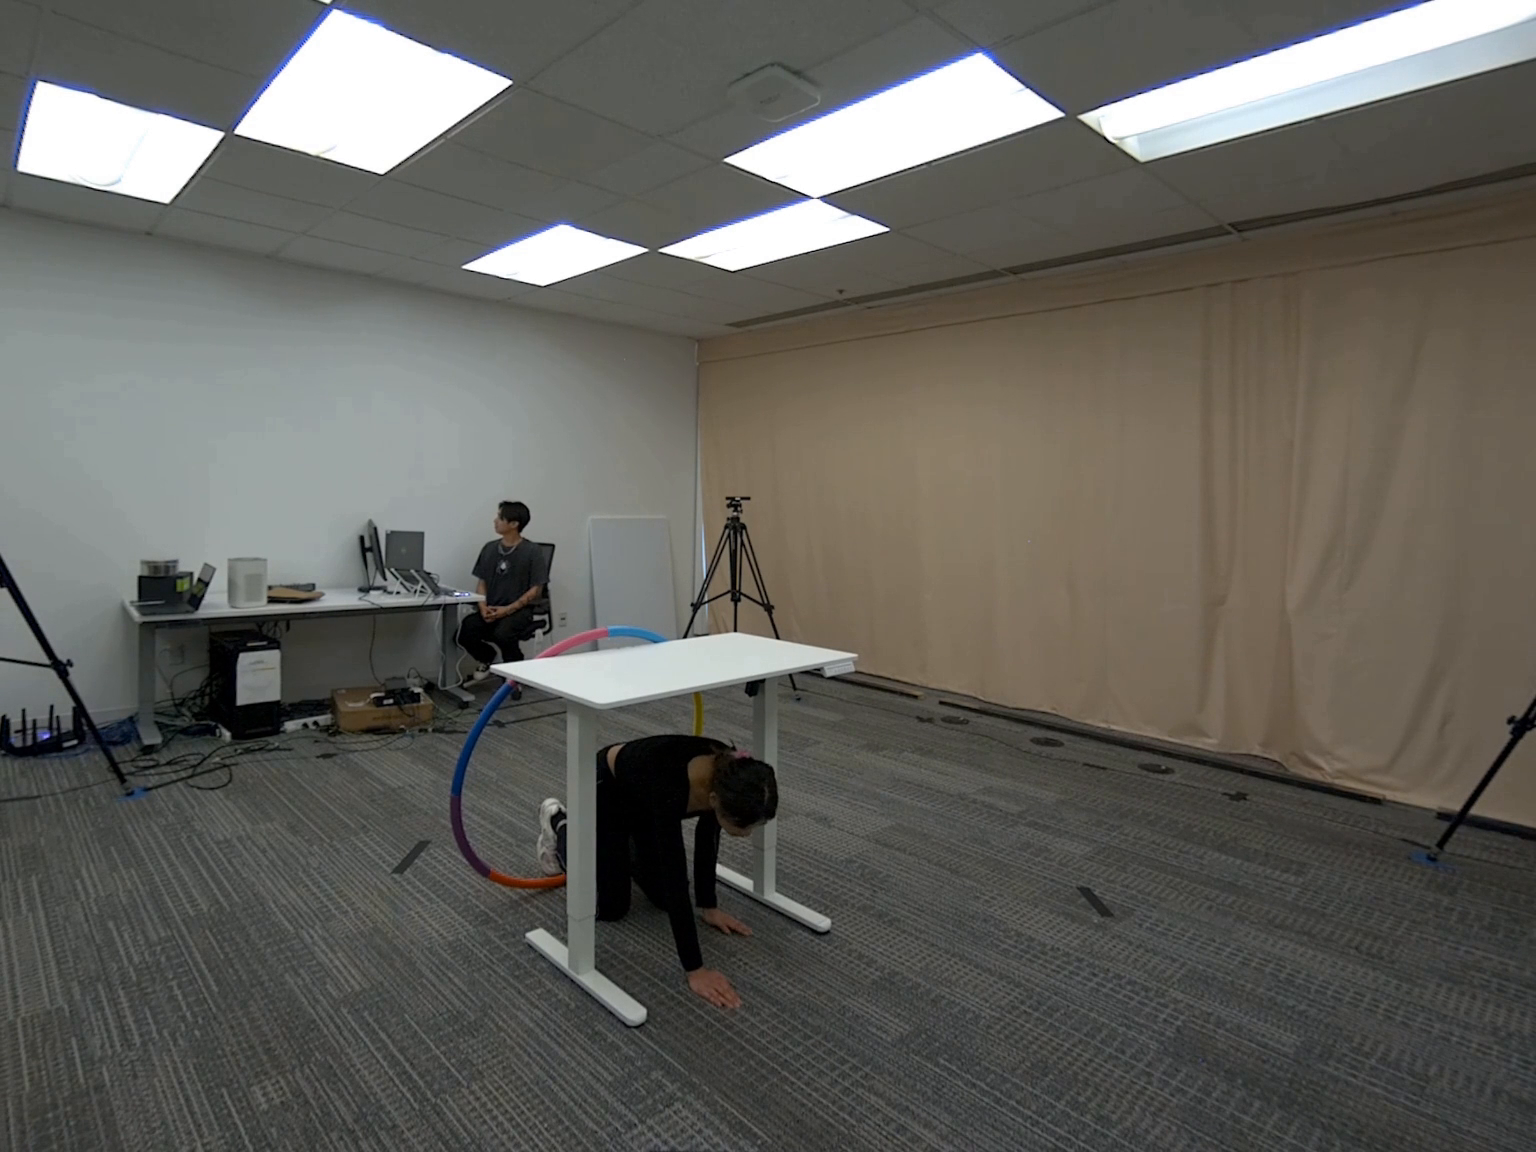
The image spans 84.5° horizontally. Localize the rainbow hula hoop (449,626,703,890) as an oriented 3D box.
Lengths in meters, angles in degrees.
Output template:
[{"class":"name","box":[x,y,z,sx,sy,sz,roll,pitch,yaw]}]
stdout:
[{"class":"rainbow hula hoop","box":[-0.627,0.646,2.911,0.956,0.970,0.036,-3,21,-43]}]
